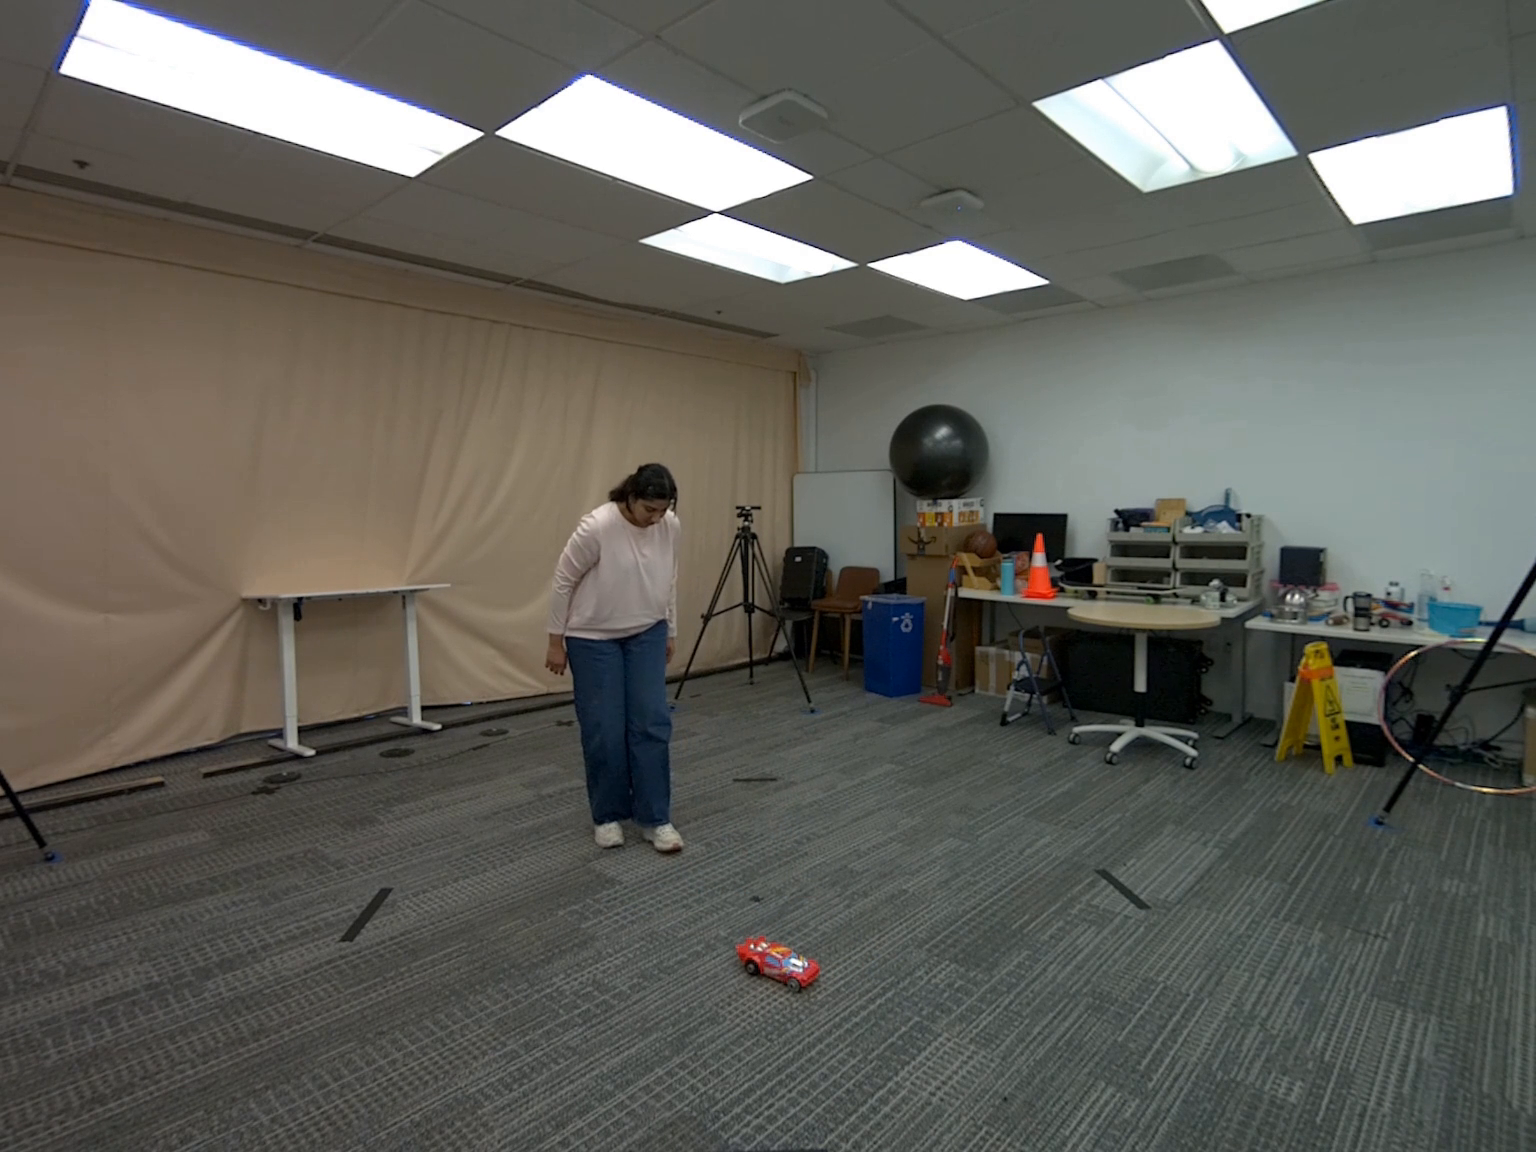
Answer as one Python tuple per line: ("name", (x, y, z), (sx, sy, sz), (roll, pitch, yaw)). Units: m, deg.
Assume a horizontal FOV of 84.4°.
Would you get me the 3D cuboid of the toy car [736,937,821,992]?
("toy car", (0.029, 1.152, 2.504), (0.263, 0.083, 0.126), (16, 12, 35))
